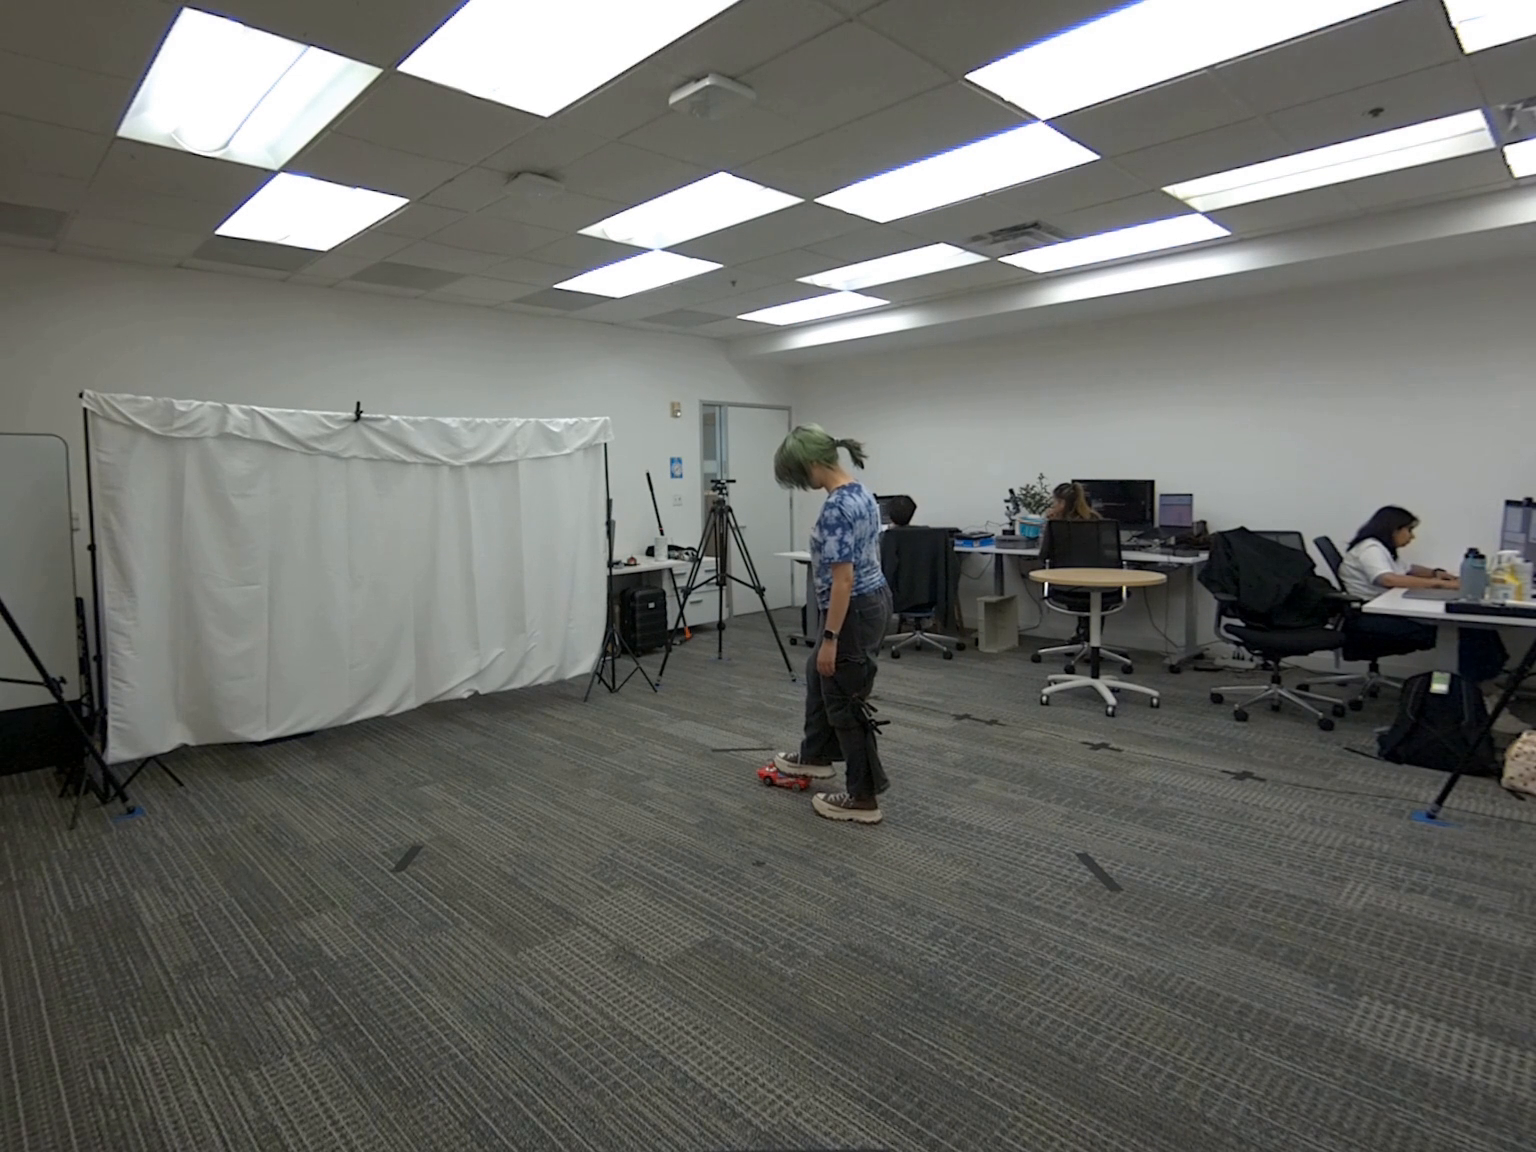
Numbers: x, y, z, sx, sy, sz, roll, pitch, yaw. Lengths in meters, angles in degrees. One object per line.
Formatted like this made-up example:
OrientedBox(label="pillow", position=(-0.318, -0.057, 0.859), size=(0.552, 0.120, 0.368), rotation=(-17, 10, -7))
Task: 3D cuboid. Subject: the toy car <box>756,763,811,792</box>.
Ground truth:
OrientedBox(label="toy car", position=(0.071, 0.926, 3.913), size=(0.263, 0.082, 0.127), rotation=(16, 12, 32))
